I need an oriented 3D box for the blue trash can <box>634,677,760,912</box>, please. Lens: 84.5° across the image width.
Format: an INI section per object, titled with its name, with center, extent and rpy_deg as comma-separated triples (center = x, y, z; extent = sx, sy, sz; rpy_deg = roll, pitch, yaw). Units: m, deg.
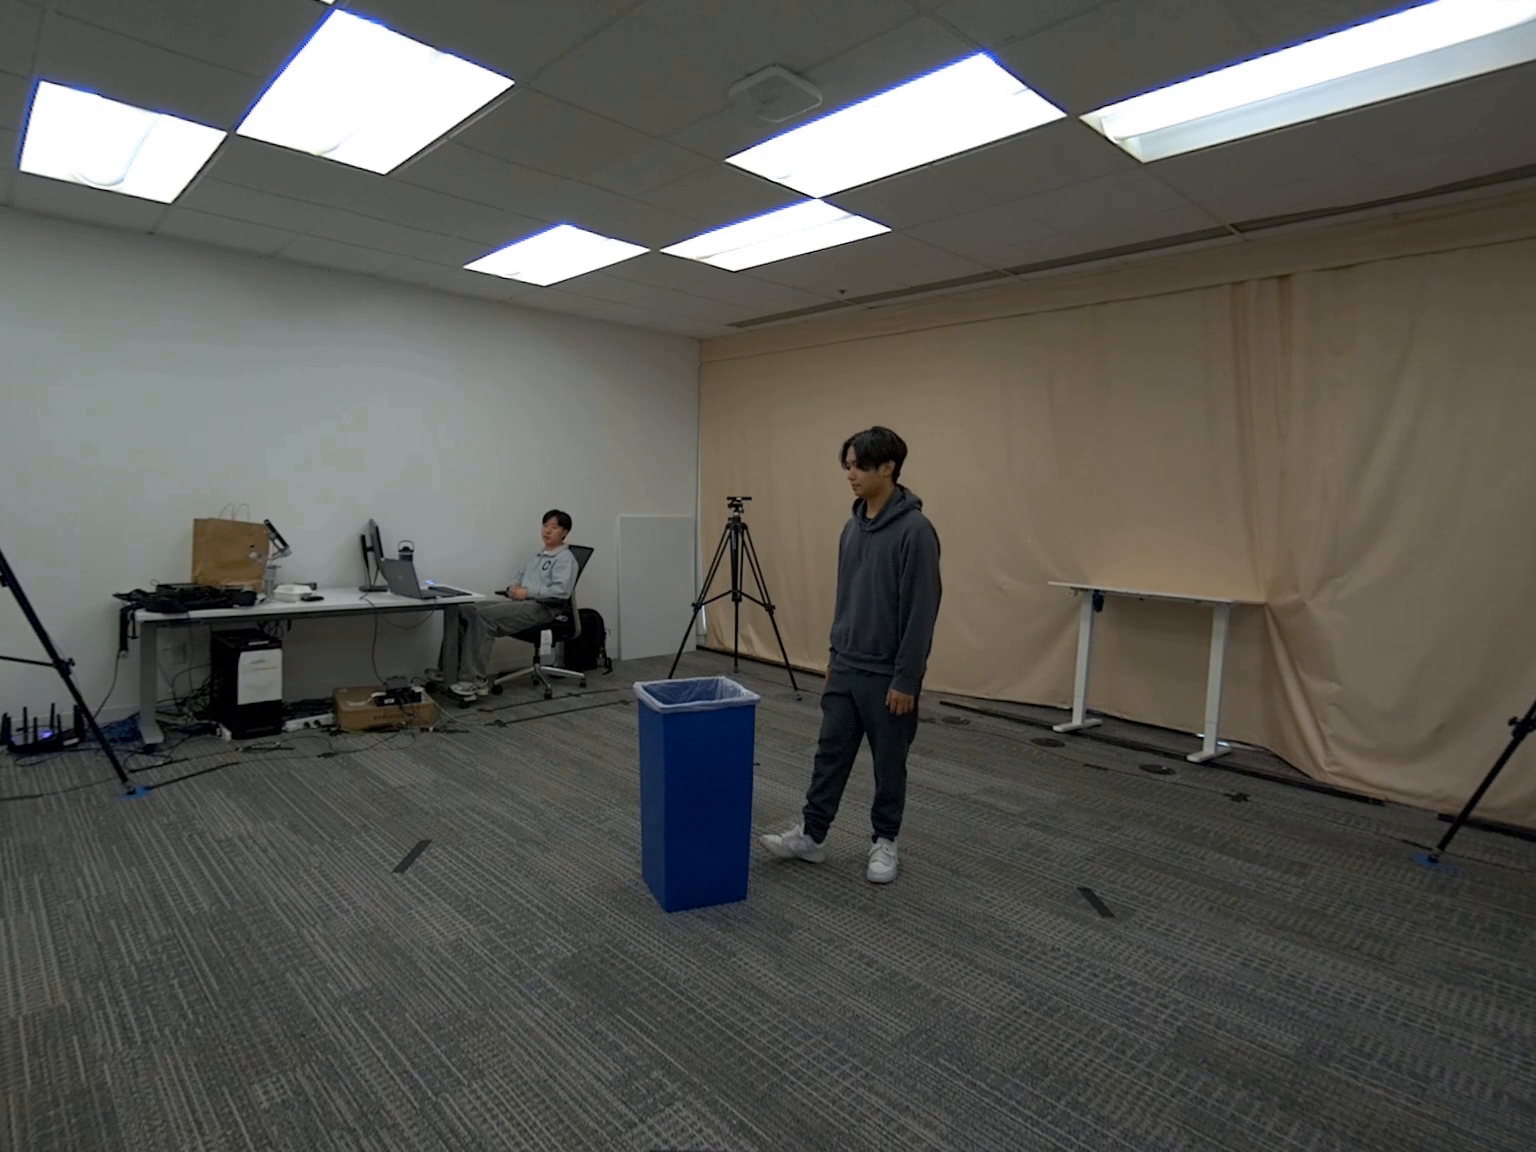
[blue trash can]
center = -0.269, 0.757, 2.978
extent = 0.368, 0.712, 0.385
rpy_deg = 0, 3, -24
